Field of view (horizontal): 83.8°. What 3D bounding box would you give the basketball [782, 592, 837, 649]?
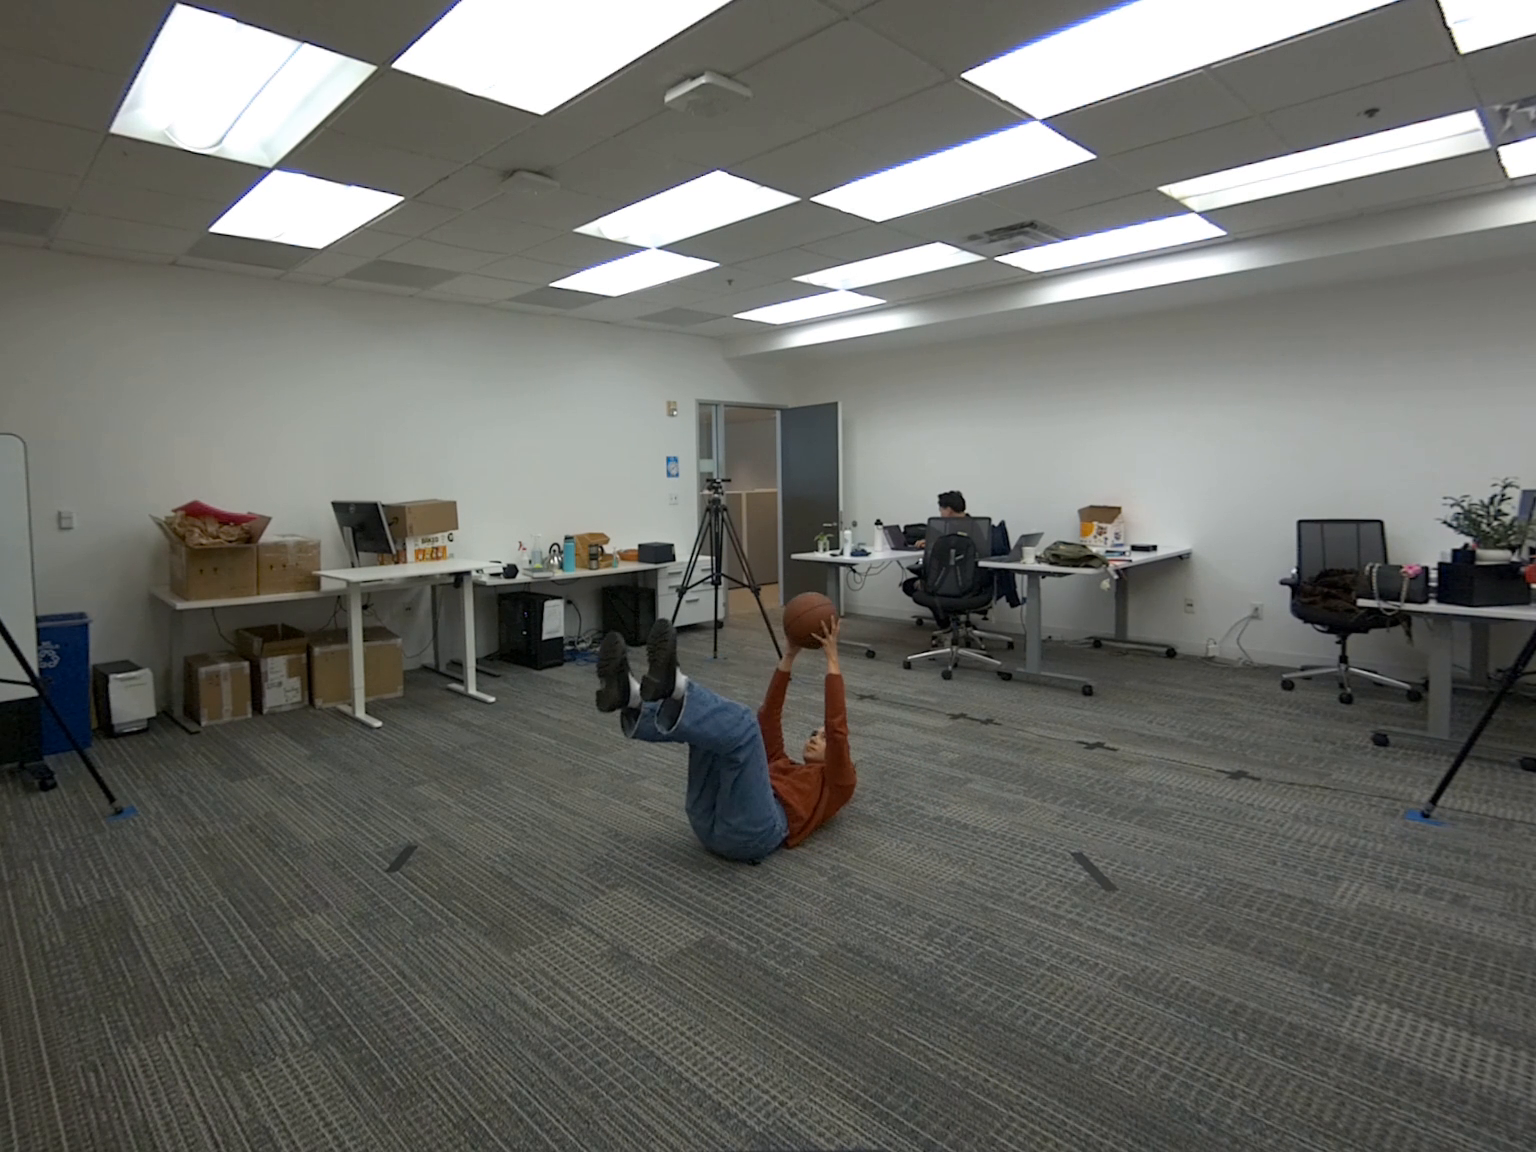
[{"bbox_3d":[0.186,0.194,3.571,0.236,0.236,0.236,0,1,-2],"label":"basketball"}]
